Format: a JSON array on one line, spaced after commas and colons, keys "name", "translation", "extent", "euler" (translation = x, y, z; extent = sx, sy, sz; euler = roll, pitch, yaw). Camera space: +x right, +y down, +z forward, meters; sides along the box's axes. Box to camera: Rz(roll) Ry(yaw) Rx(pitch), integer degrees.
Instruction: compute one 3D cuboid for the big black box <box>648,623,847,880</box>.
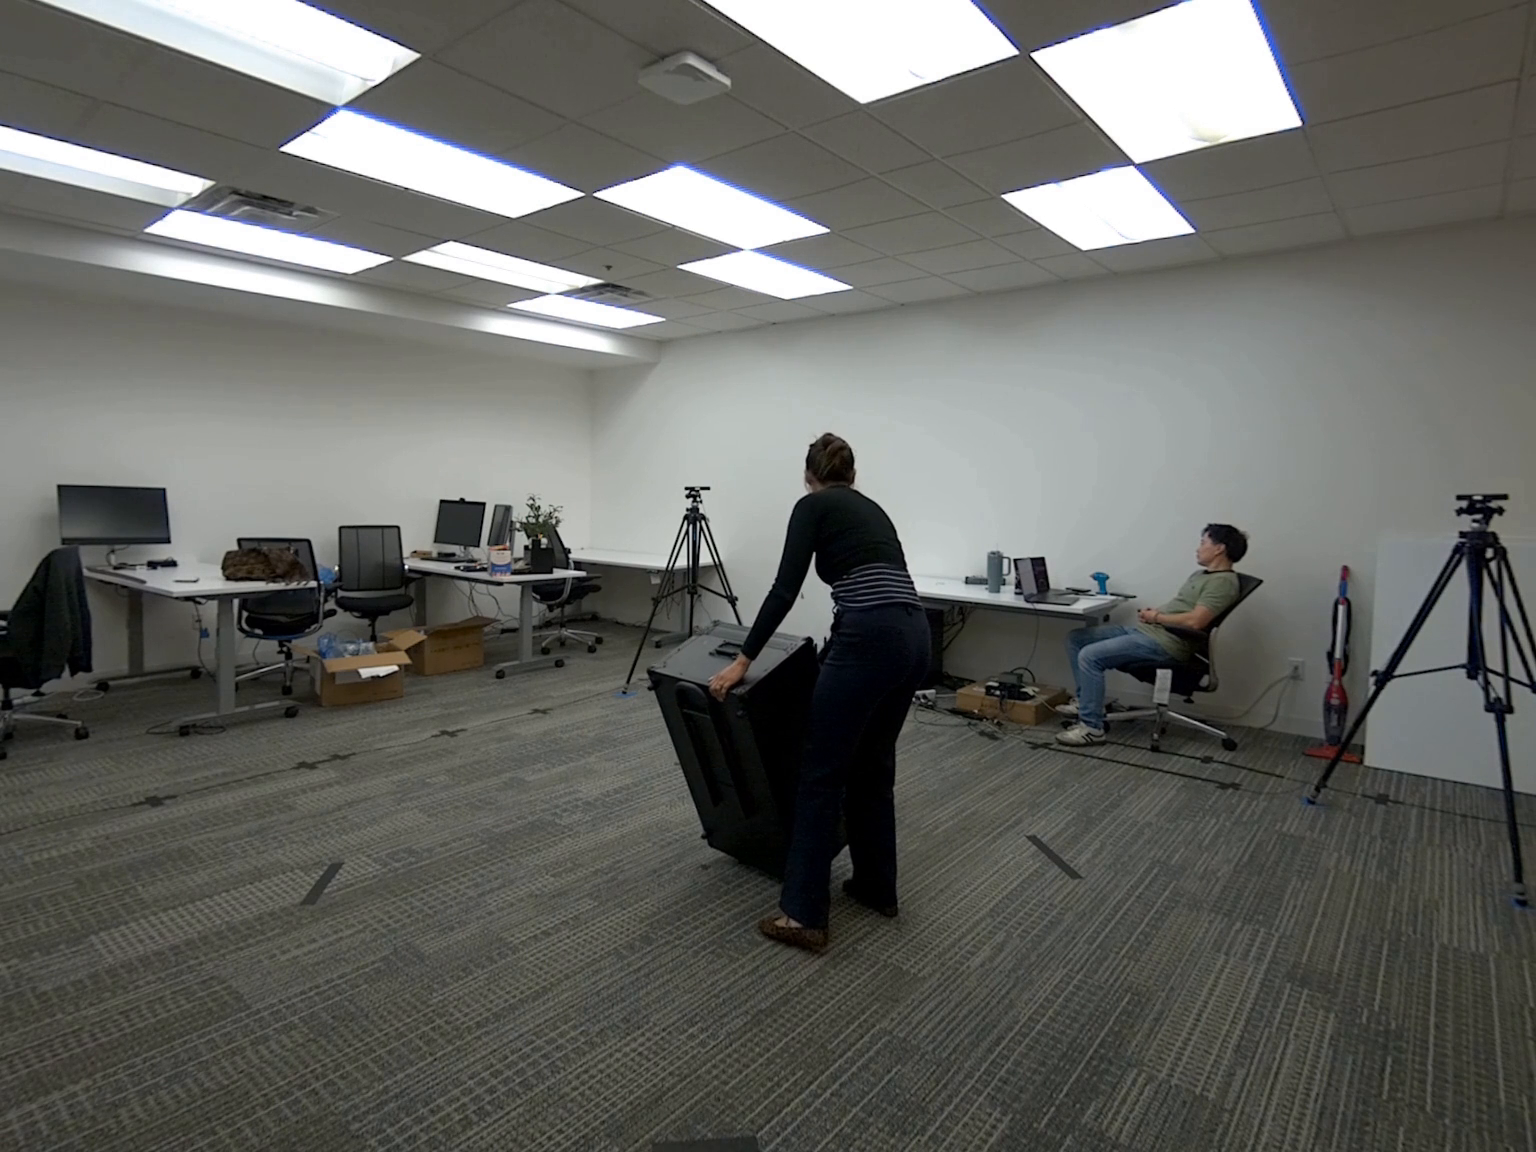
[{"name": "big black box", "translation": [-0.075, 0.587, 2.997], "extent": [0.539, 0.844, 0.391], "euler": [5, 27, 46]}]
